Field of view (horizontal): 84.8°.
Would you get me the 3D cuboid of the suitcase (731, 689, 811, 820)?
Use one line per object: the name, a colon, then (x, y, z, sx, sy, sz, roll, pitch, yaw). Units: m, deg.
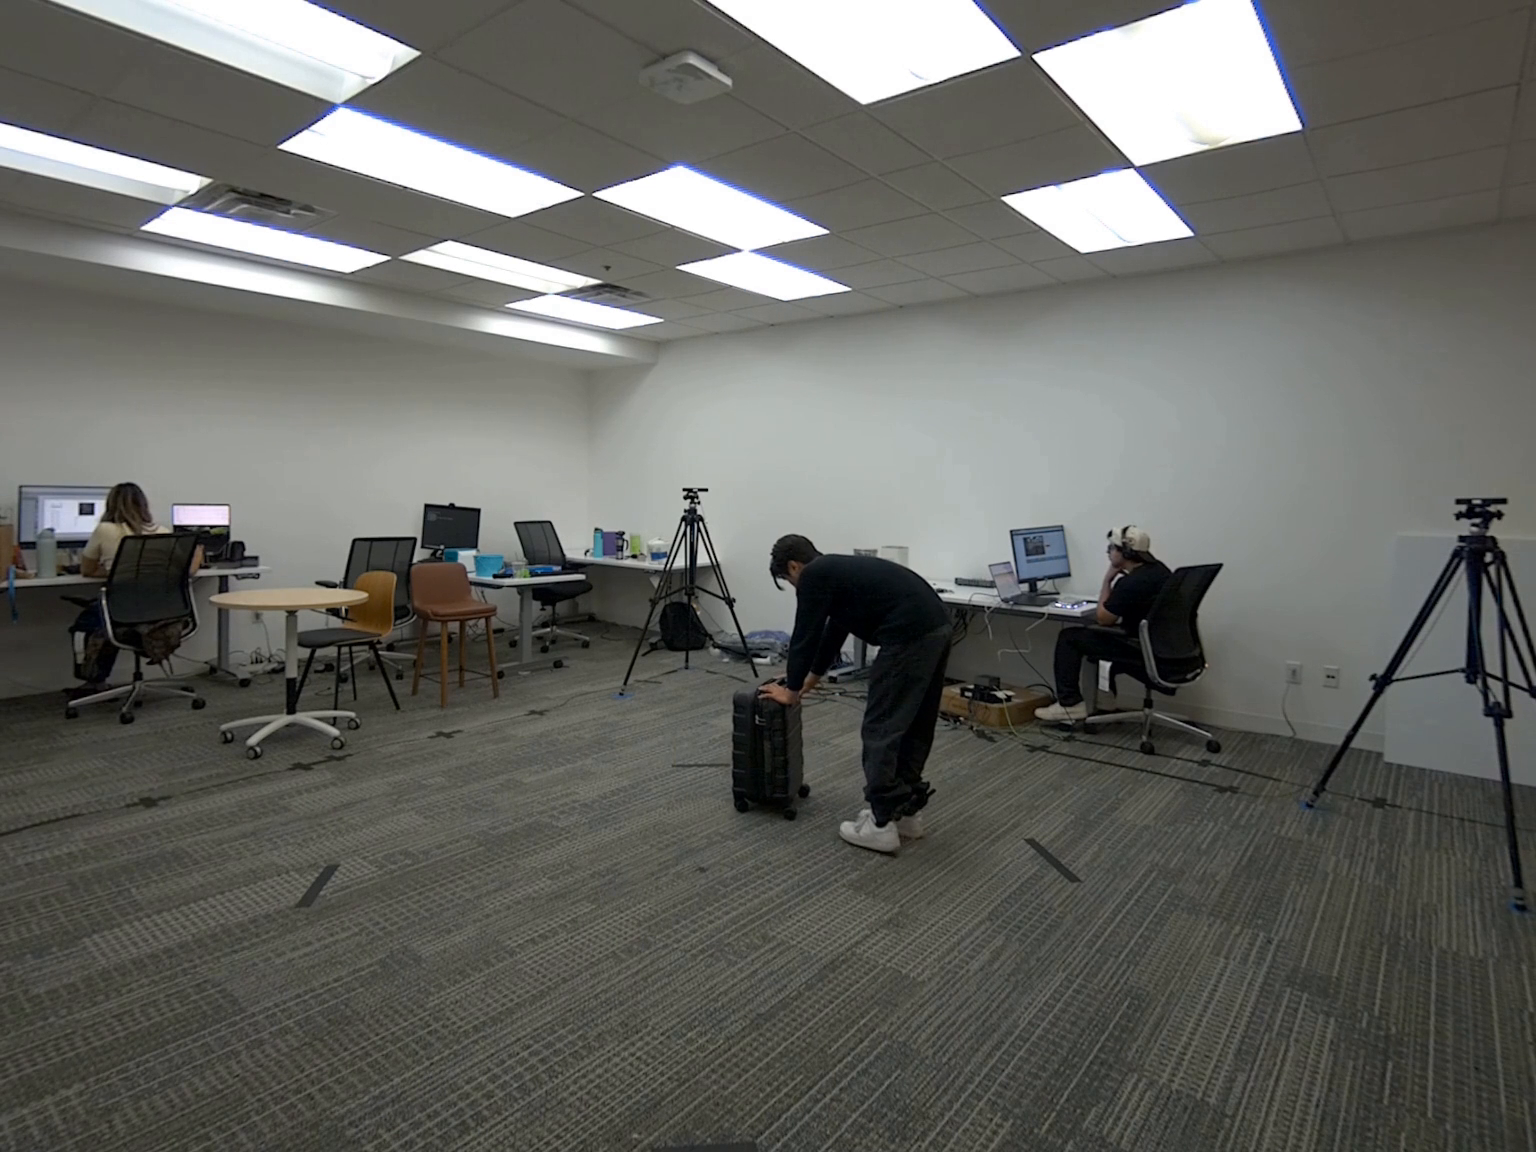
suitcase: (-0.007, 0.733, 3.781, 0.253, 0.548, 0.369, 1, 4, 19)
